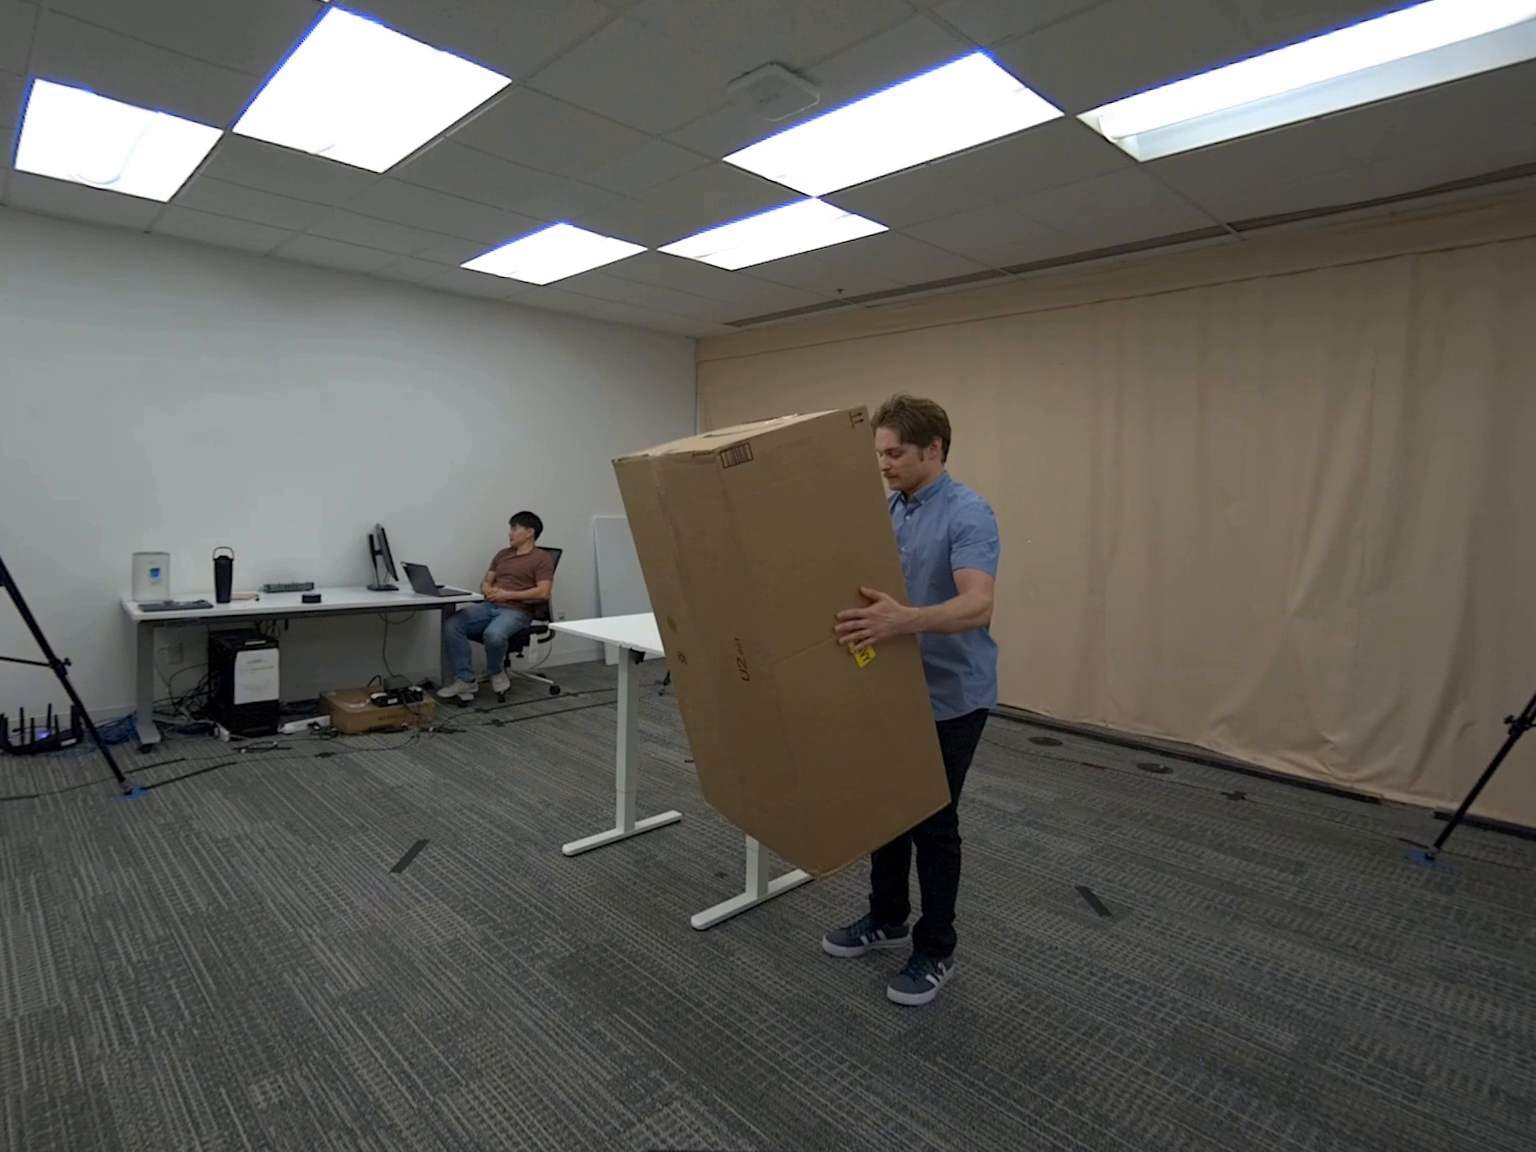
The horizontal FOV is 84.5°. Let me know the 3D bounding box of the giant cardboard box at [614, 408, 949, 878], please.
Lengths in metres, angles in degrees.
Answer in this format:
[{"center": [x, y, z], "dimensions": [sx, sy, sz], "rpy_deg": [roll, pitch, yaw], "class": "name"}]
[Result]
[{"center": [0.014, 0.135, 2.171], "dimensions": [0.421, 1.016, 0.590], "rpy_deg": [-19, 12, -28], "class": "giant cardboard box"}]
